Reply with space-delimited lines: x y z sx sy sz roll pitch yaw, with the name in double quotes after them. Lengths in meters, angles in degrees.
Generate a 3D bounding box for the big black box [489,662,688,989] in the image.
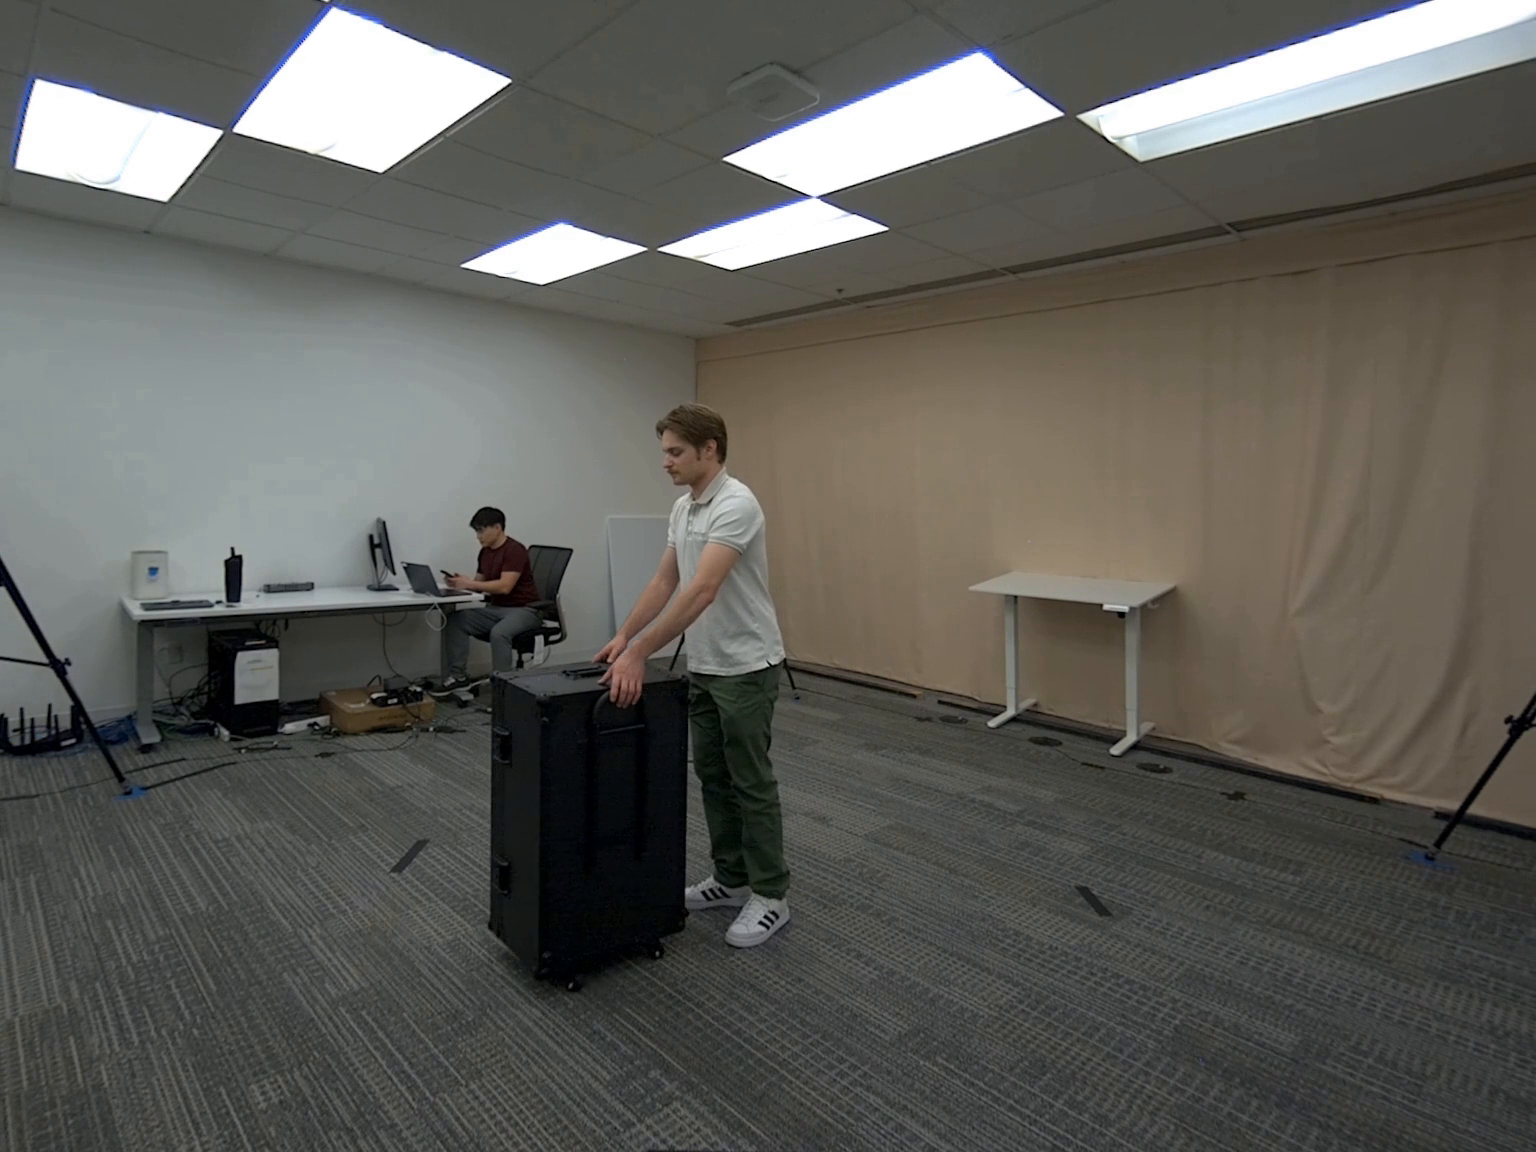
-0.540 0.729 2.532 0.512 0.866 0.395 -2 5 -38 "big black box"
